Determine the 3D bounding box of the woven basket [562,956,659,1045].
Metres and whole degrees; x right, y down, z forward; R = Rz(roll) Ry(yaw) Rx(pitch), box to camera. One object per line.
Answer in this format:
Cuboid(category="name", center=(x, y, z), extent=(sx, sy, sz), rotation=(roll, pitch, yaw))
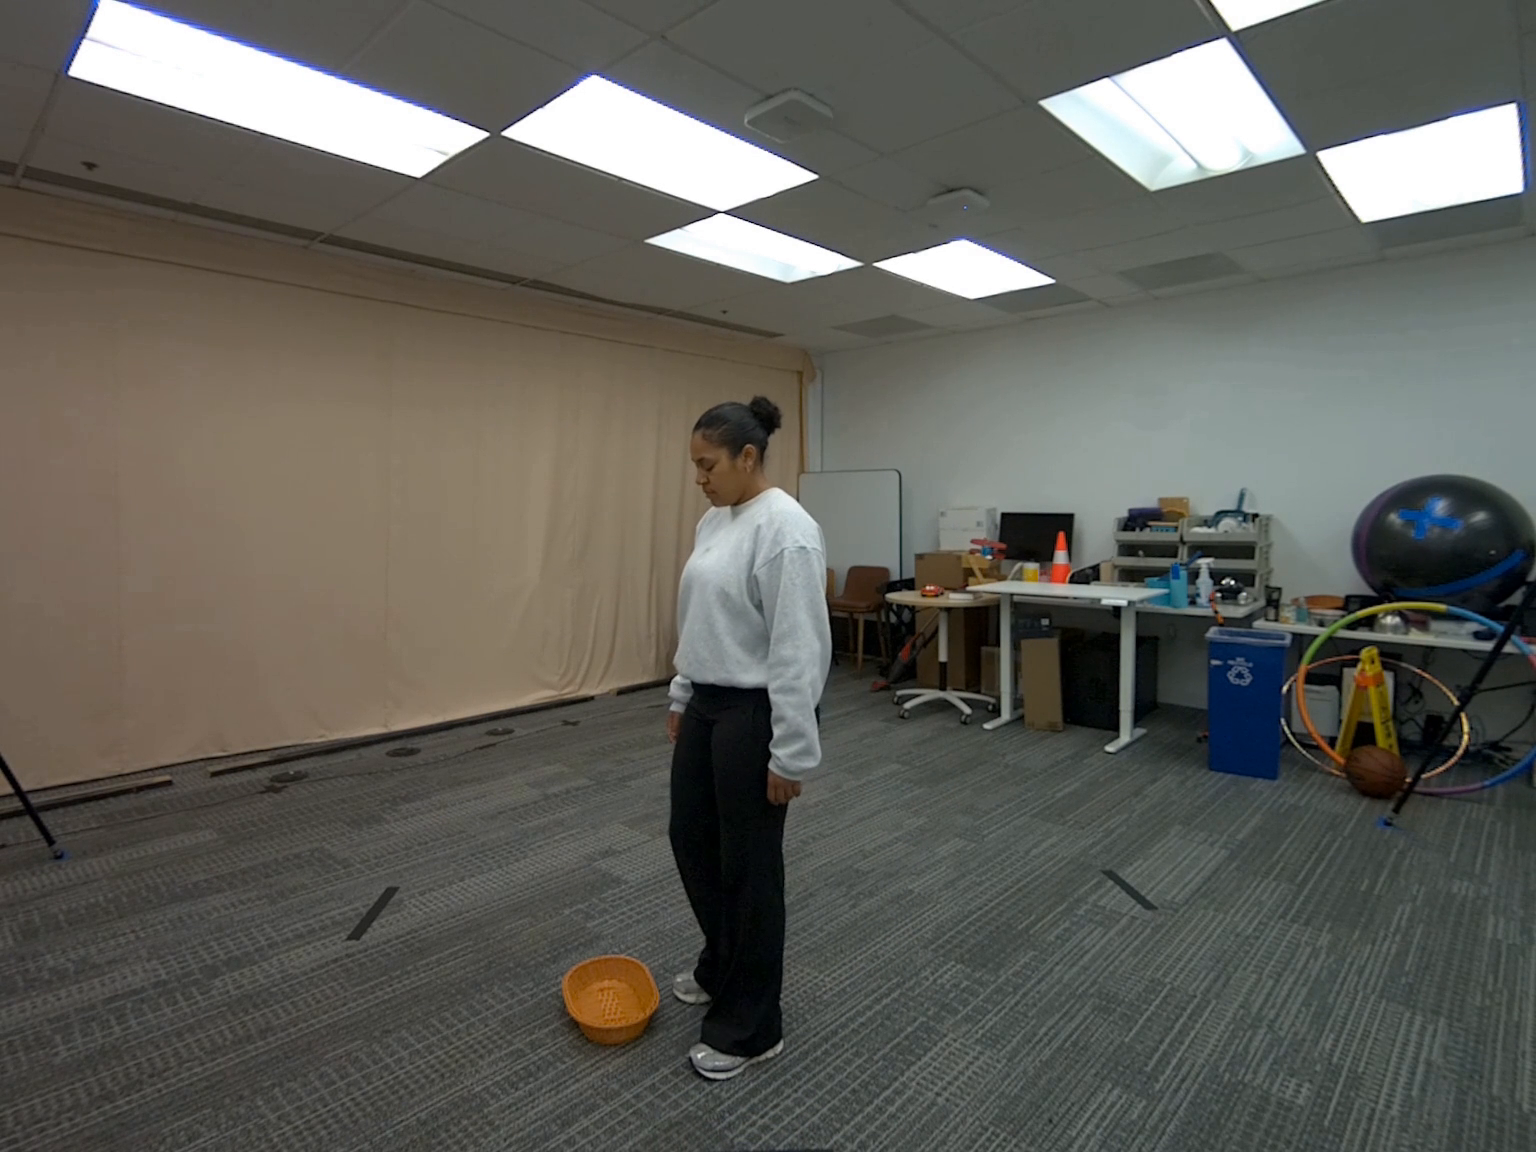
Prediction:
Cuboid(category="woven basket", center=(-0.430, 1.167, 2.315), extent=(0.248, 0.073, 0.358), rotation=(-1, 5, -19))
